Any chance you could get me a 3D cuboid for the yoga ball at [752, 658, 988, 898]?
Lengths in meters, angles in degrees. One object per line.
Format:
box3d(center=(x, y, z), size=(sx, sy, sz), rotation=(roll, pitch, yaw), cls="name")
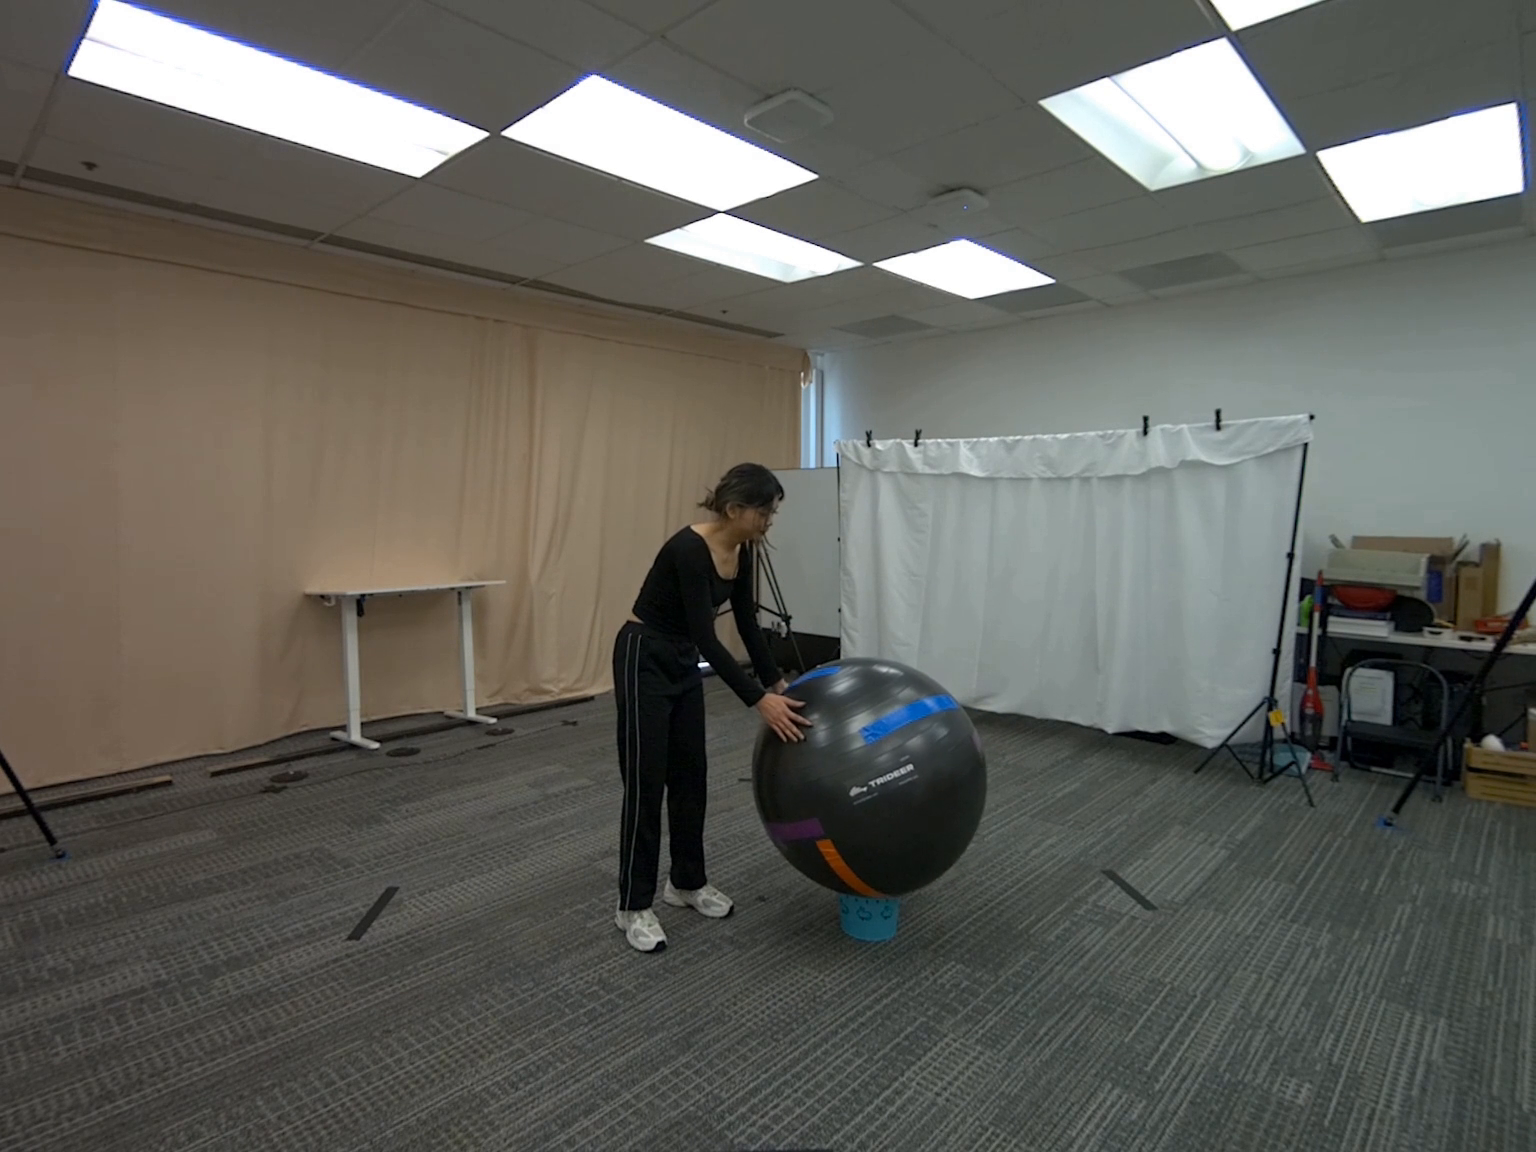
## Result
box3d(center=(0.326, 0.648, 2.761), size=(0.757, 0.756, 0.760), rotation=(0, 4, -2), cls="yoga ball")
